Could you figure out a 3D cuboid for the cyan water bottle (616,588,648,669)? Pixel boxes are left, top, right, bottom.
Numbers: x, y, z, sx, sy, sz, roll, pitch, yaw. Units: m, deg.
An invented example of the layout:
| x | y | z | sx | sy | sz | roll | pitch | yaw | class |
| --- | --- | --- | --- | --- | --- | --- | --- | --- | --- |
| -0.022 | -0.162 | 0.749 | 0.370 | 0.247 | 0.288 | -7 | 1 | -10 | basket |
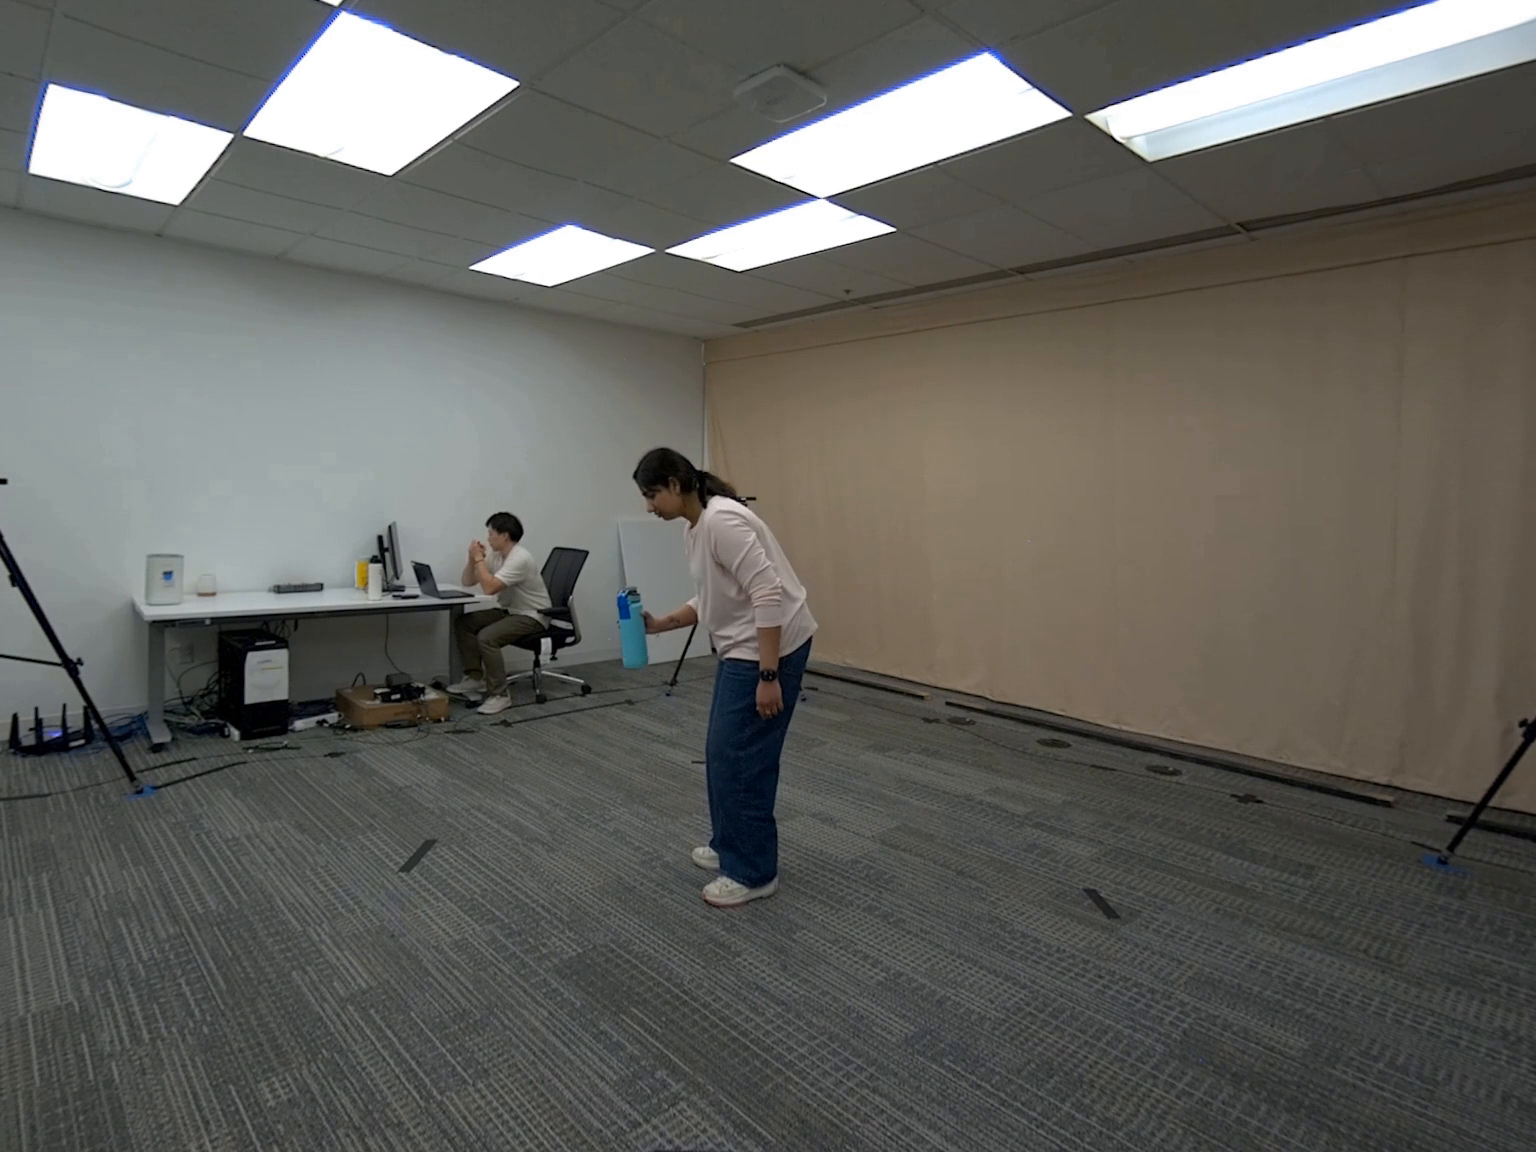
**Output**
| x | y | z | sx | sy | sz | roll | pitch | yaw | class |
| --- | --- | --- | --- | --- | --- | --- | --- | --- | --- |
| -0.484 | 0.182 | 2.981 | 0.092 | 0.282 | 0.093 | -6 | 7 | -1 | cyan water bottle |
